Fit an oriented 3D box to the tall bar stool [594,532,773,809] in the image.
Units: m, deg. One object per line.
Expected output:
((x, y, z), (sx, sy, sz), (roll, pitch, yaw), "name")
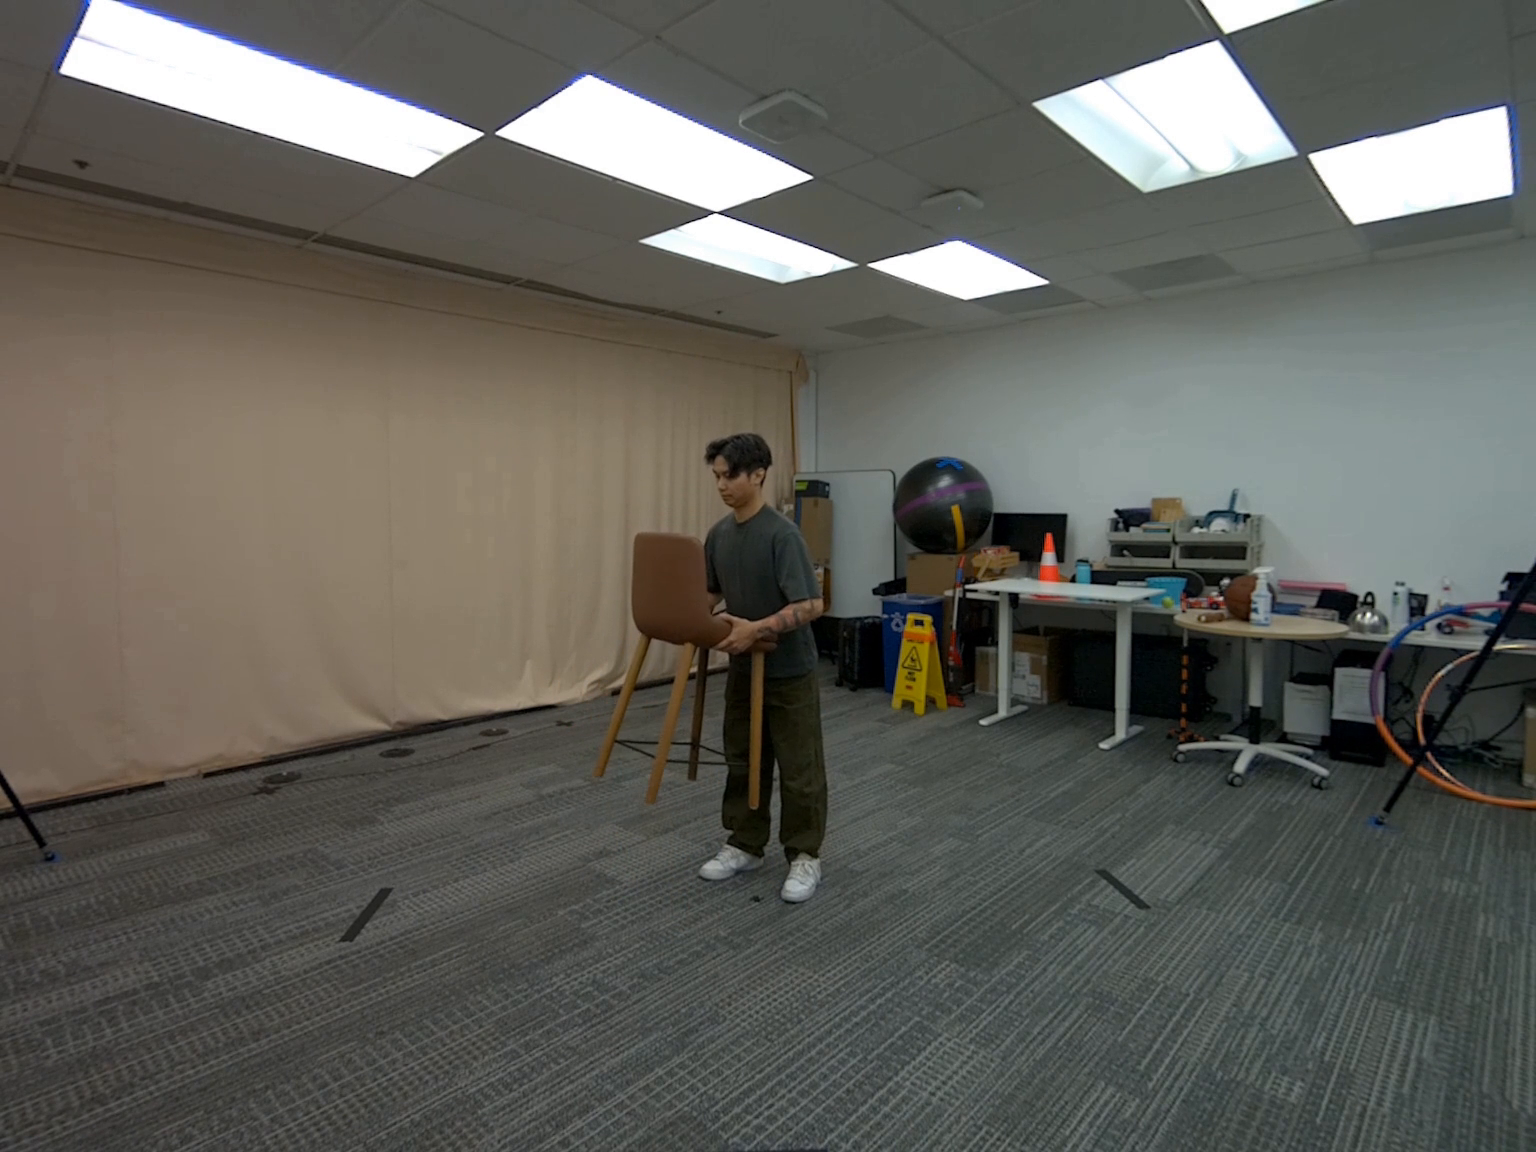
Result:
((-0.259, 0.328, 2.976), (0.452, 0.892, 0.471), (11, -6, -39), "tall bar stool")
